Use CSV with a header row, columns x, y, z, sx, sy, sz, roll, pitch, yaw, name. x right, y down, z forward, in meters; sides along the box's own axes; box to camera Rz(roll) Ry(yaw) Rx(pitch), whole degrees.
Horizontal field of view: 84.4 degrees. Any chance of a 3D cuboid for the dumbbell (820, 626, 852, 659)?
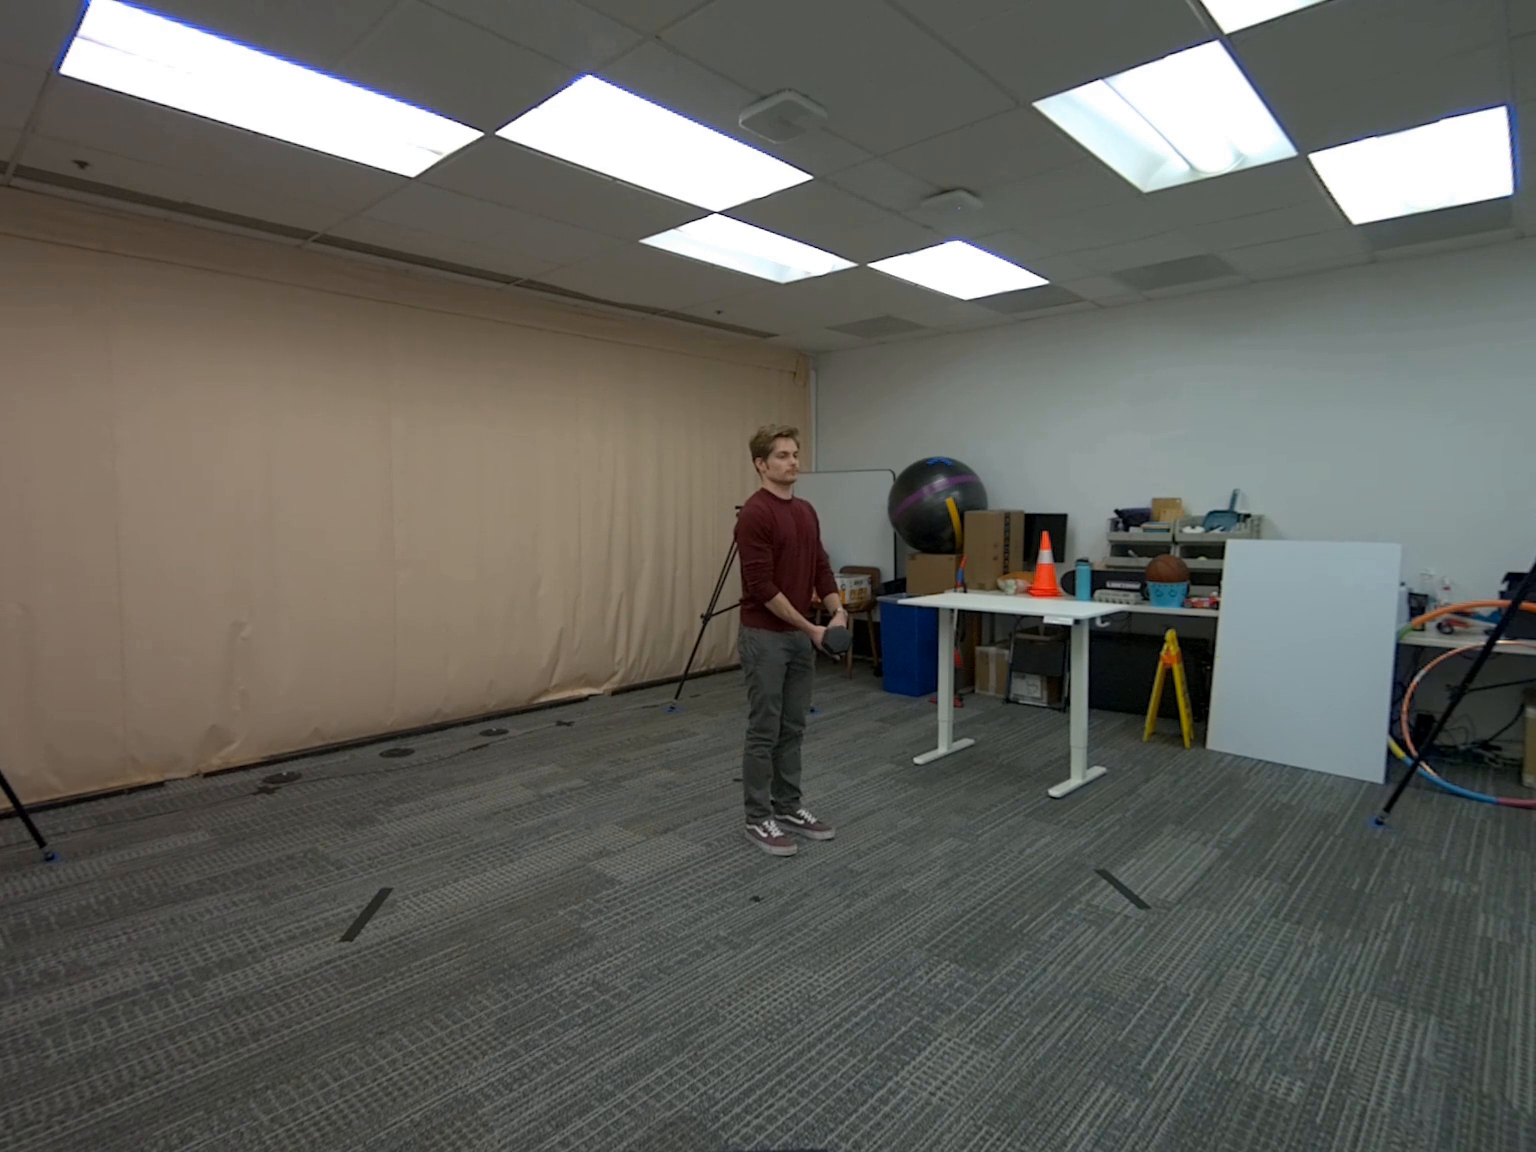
x,y,z,sx,sy,sz,roll,pitch,yaw,name
0.254,0.267,3.376,0.108,0.123,0.293,-42,-1,-8,dumbbell
